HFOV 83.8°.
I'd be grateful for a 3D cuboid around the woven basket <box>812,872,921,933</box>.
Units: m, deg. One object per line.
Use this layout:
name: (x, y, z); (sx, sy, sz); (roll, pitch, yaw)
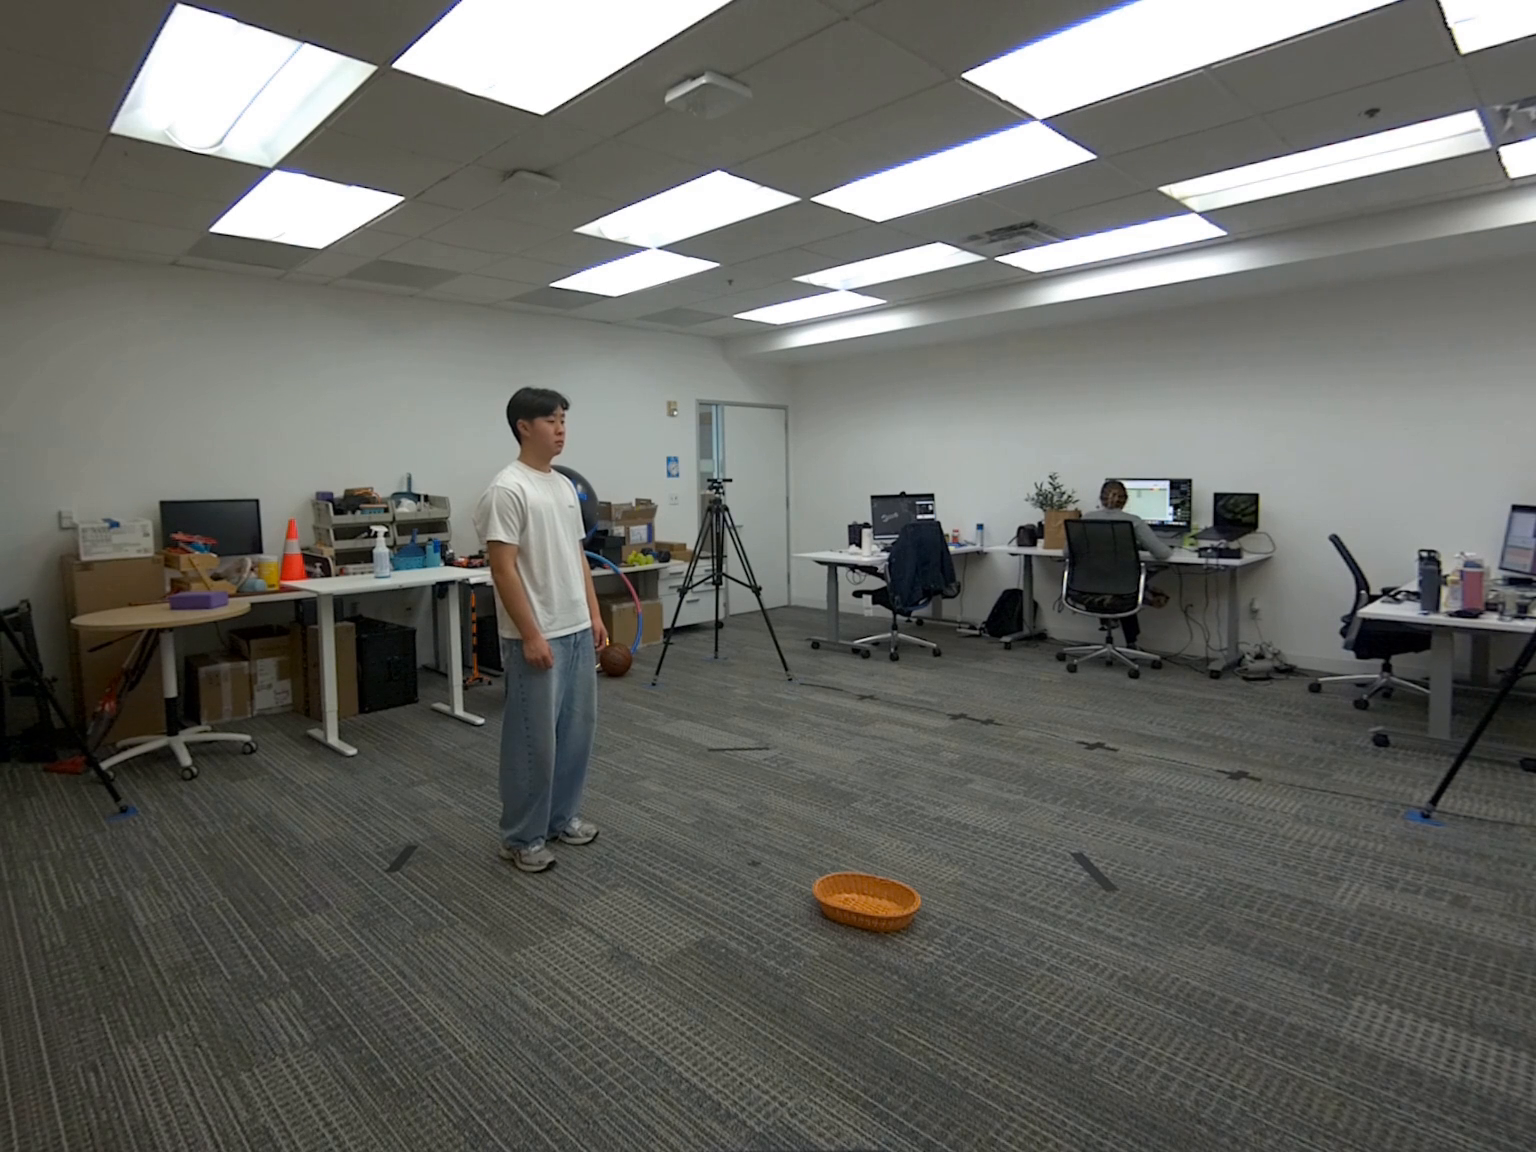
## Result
woven basket: (0.317, 1.045, 2.733); (0.359, 0.073, 0.247); (2, 7, 29)
